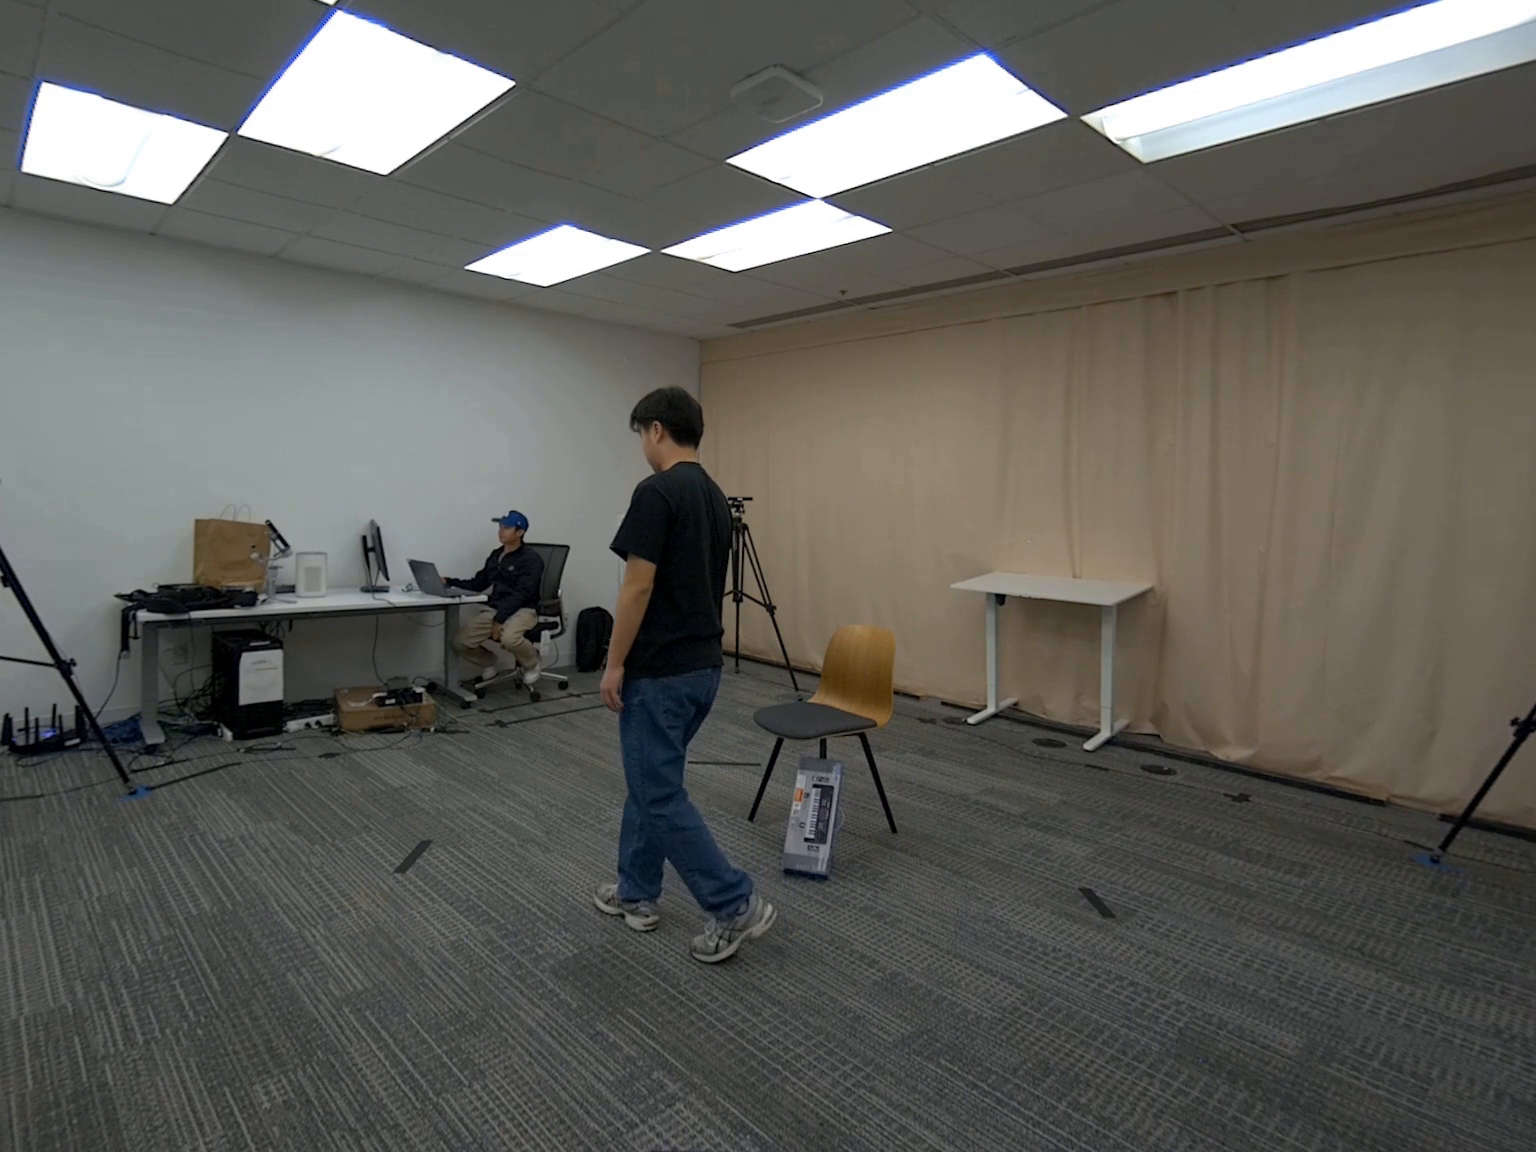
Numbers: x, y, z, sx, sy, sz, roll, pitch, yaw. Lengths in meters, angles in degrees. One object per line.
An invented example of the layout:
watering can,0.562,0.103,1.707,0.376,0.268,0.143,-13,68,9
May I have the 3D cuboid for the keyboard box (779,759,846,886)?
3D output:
keyboard box,0.172,0.927,3.221,0.178,0.443,0.057,2,-35,17
